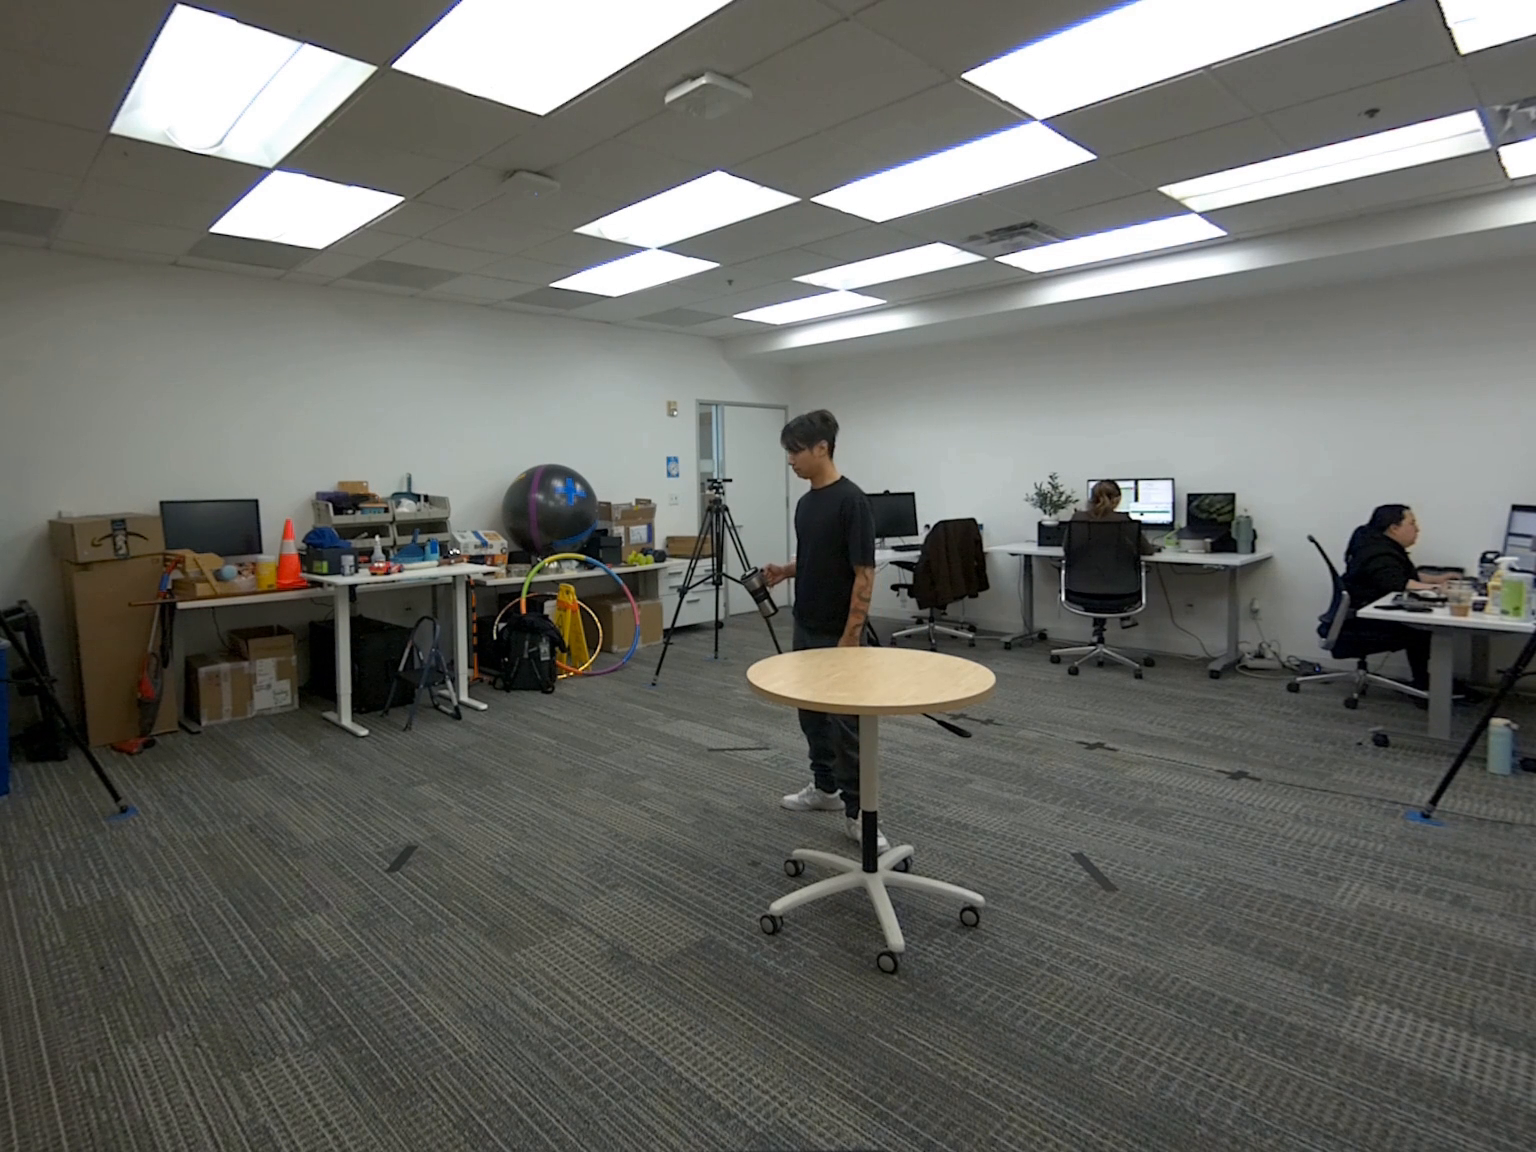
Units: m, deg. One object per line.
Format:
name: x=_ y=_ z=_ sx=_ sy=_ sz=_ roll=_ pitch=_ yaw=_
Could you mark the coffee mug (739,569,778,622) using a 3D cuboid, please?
coffee mug: x=-0.010 y=0.059 z=3.511 sx=0.121 sy=0.201 sz=0.089 roll=-35 pitch=10 yaw=-27
